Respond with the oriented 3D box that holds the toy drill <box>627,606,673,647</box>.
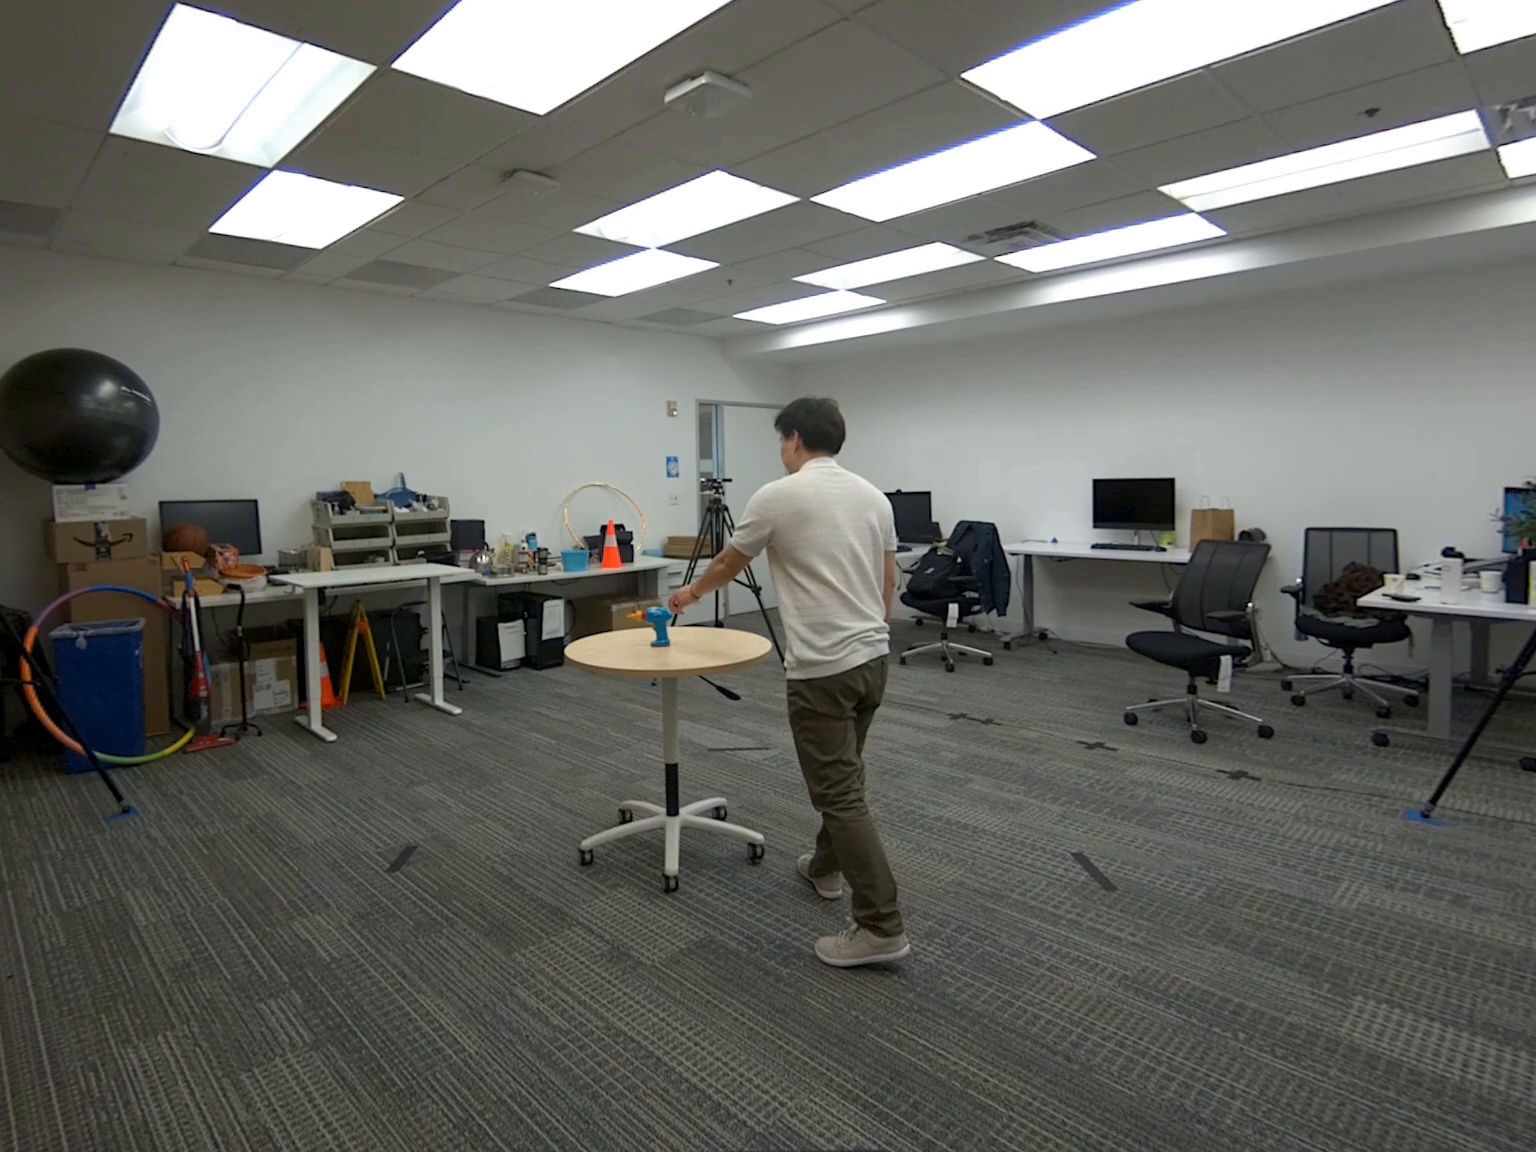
[{"bbox_3d":[-0.437,0.187,3.168,0.170,0.145,0.061,0,6,-1],"label":"toy drill"}]
